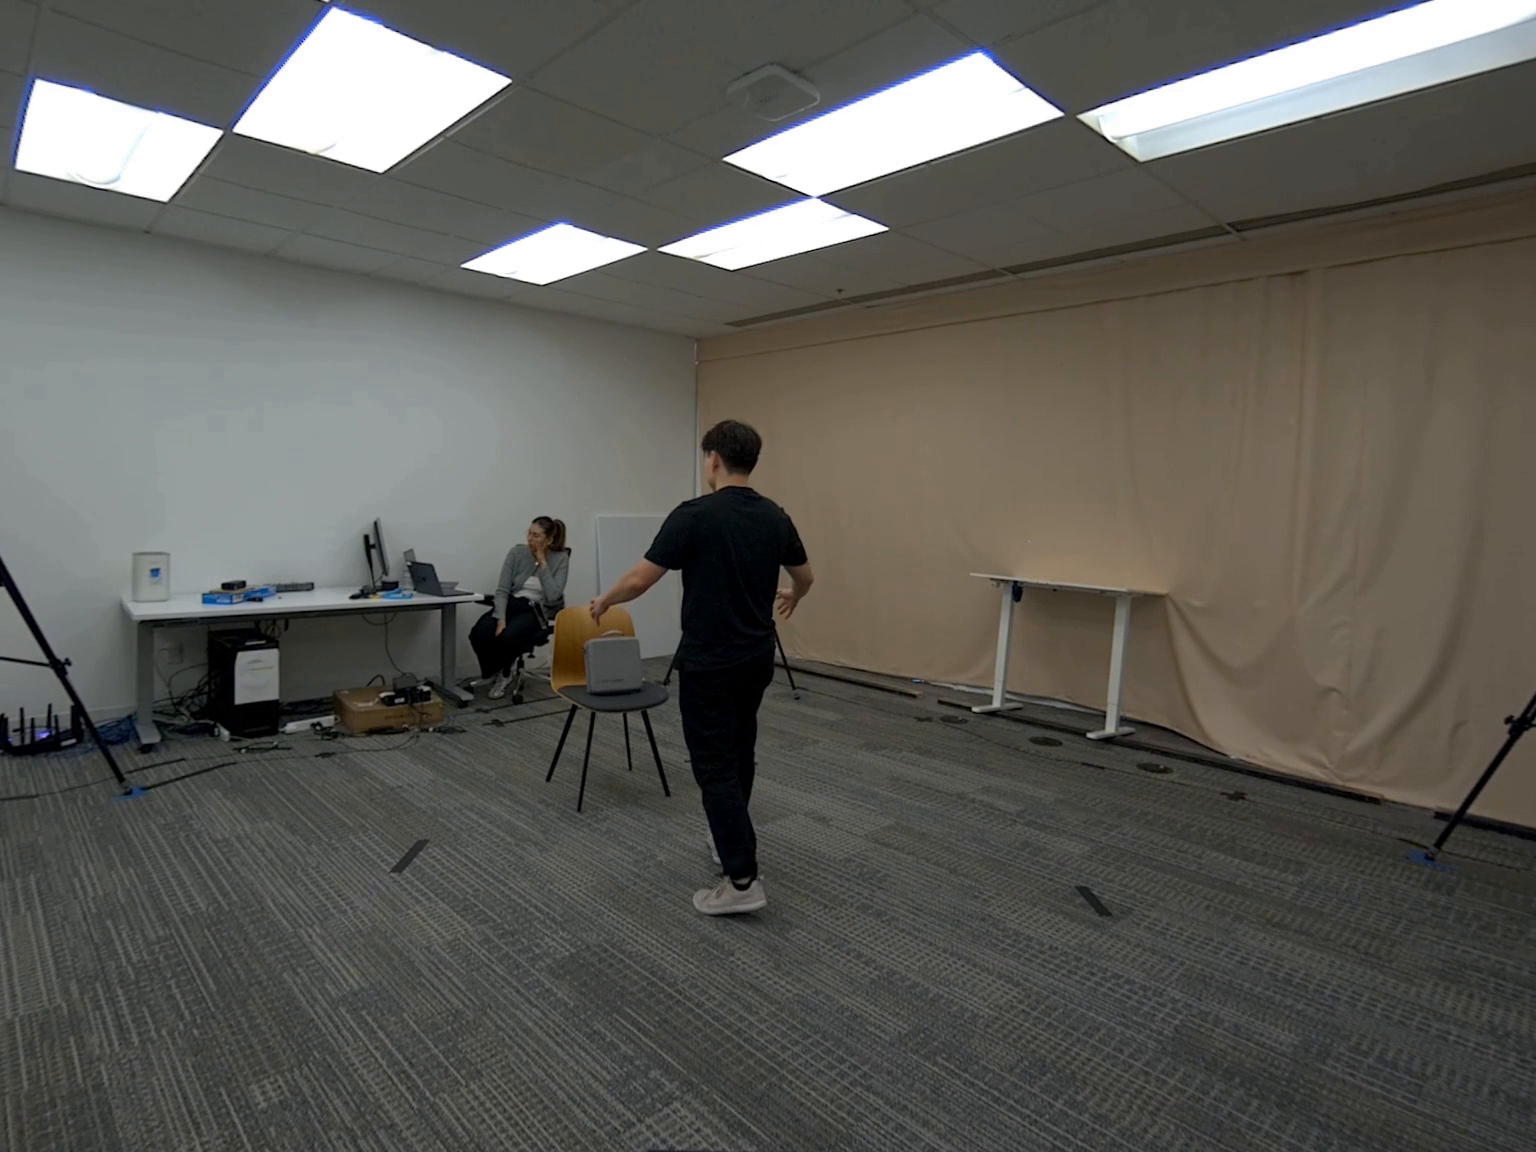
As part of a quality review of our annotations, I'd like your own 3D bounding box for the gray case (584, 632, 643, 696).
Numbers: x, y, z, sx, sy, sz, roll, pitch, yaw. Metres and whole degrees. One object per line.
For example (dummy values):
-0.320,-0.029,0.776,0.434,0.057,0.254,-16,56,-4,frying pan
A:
-0.733,0.409,3.915,0.252,0.263,0.105,-1,-10,-23,gray case
